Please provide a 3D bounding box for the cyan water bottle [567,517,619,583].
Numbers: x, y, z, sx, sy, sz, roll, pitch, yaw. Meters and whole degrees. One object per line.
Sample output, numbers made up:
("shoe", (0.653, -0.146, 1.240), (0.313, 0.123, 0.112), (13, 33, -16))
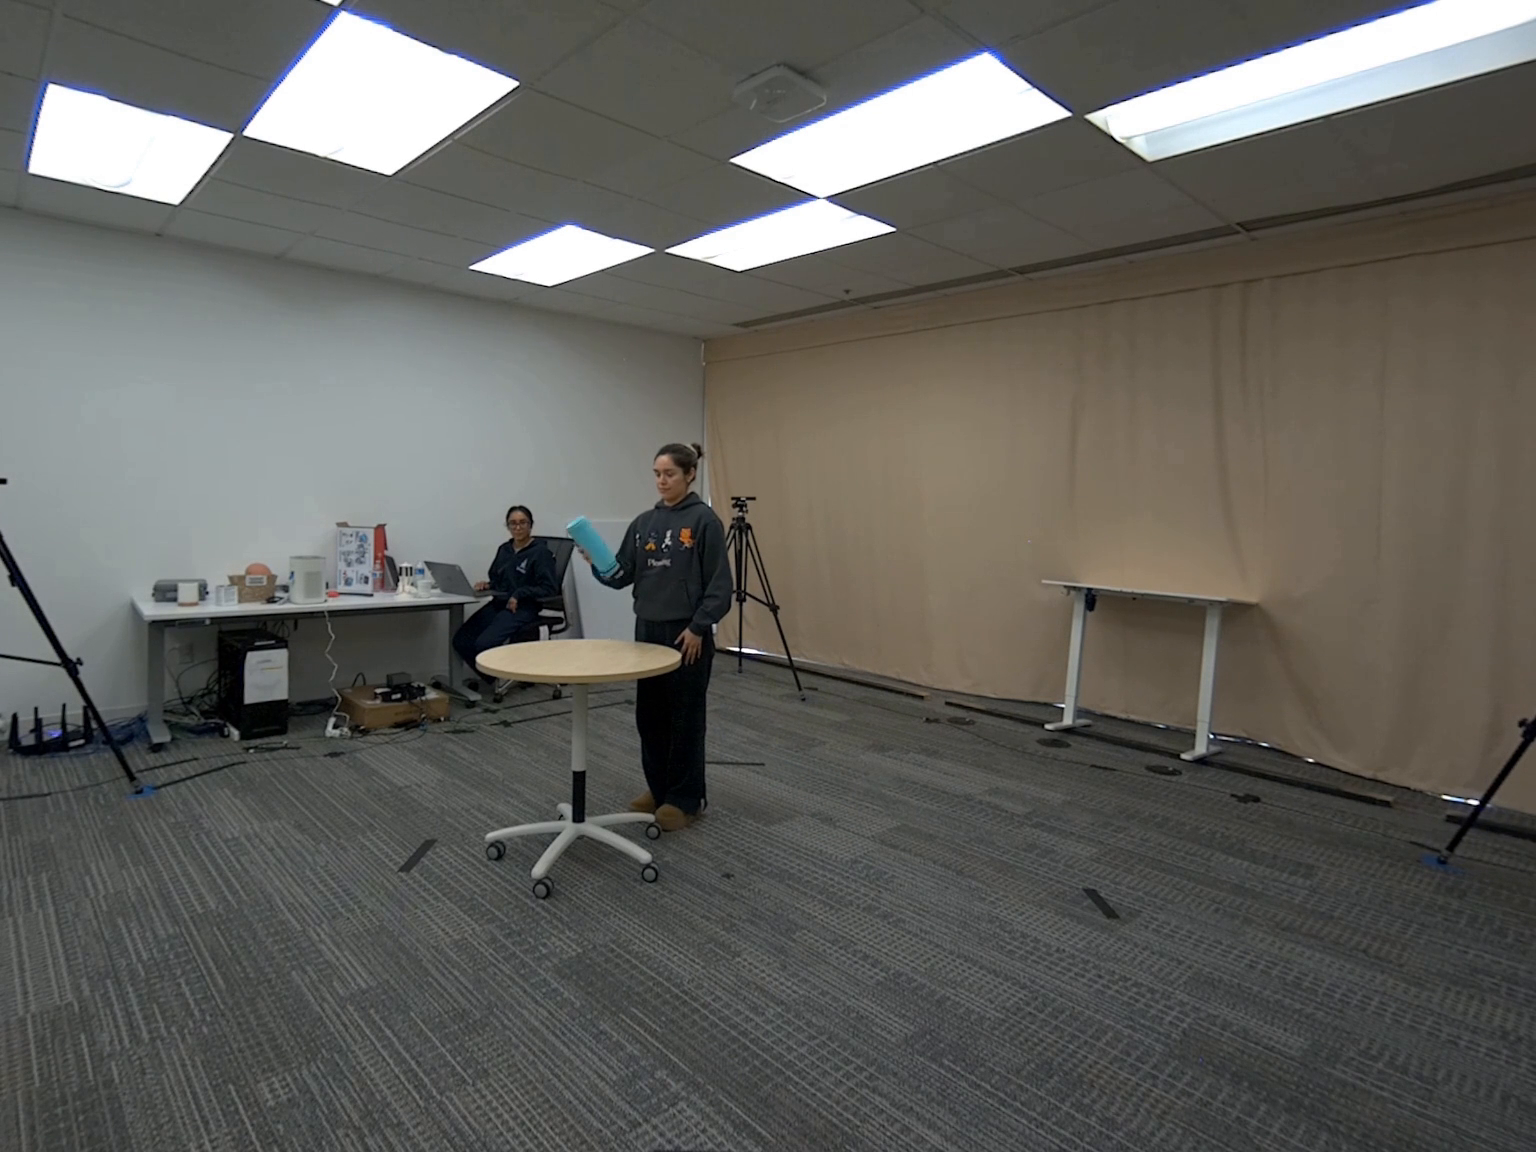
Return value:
("cyan water bottle", (-0.707, -0.101, 3.361), (0.092, 0.279, 0.093), (-31, 16, 9))
